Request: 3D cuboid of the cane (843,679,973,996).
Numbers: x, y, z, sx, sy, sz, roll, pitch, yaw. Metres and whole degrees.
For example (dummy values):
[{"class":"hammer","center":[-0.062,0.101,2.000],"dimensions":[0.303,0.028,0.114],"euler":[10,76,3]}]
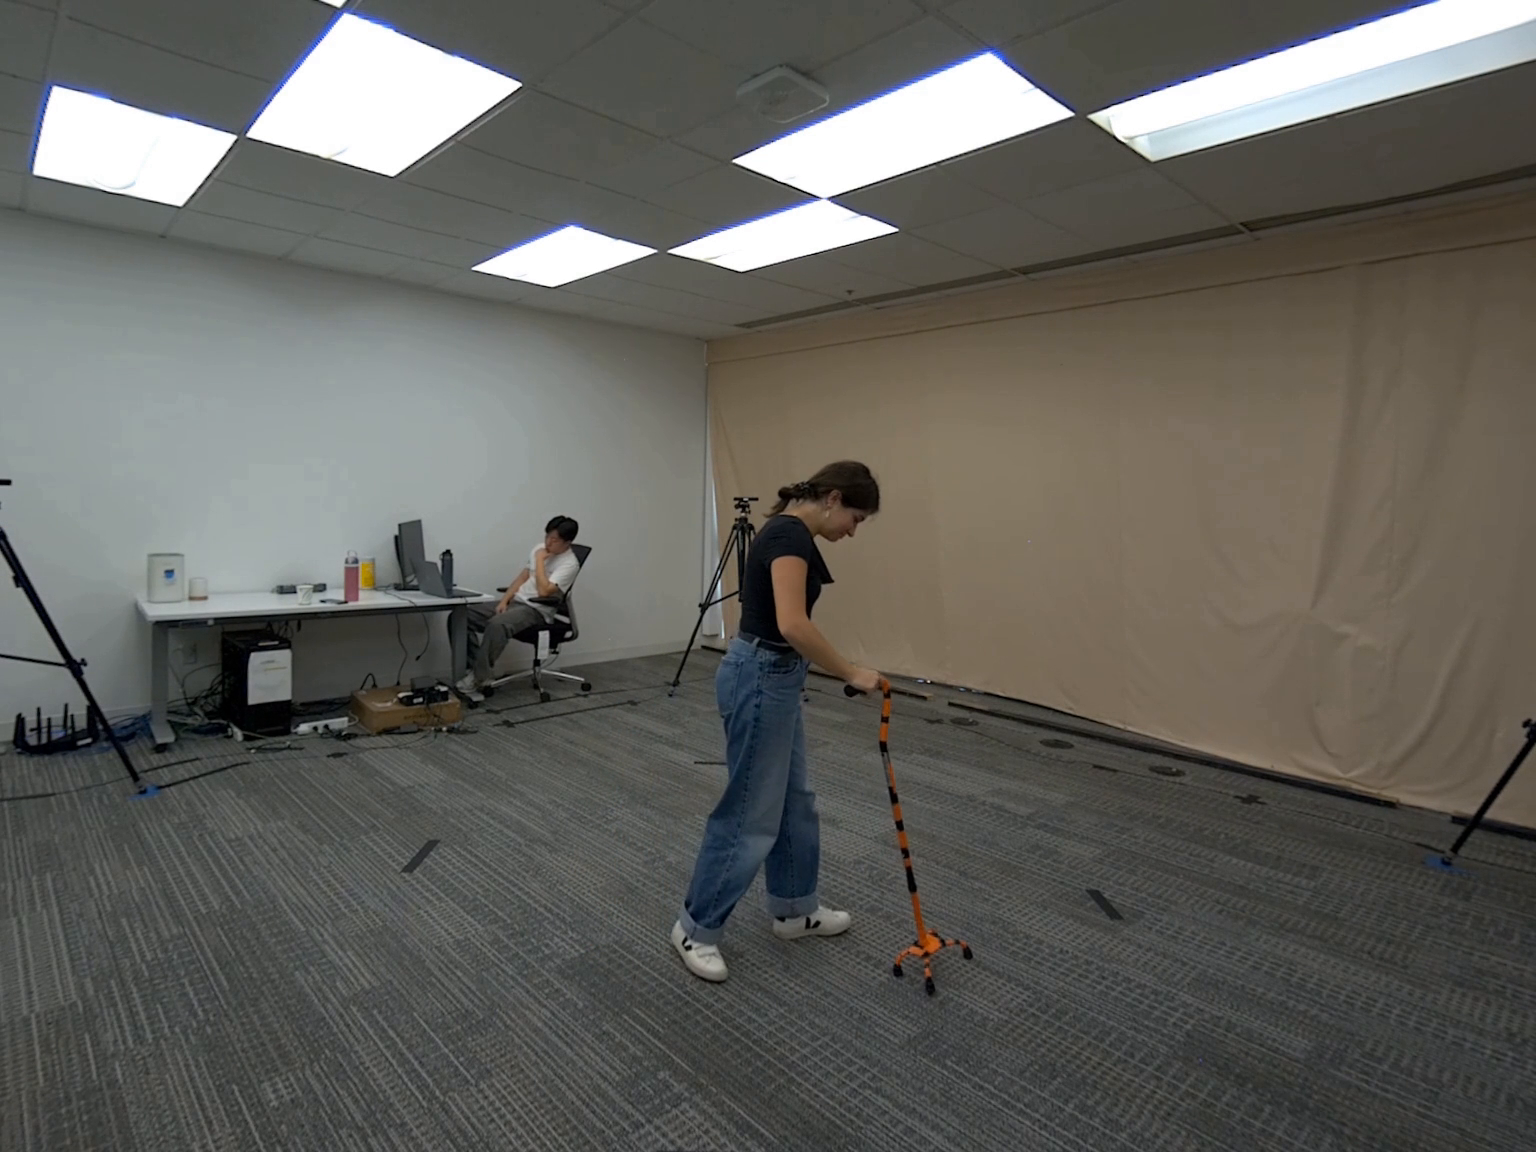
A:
[{"class":"cane","center":[0.400,0.722,2.429],"dimensions":[0.203,0.901,0.155],"euler":[-17,10,-38]}]
